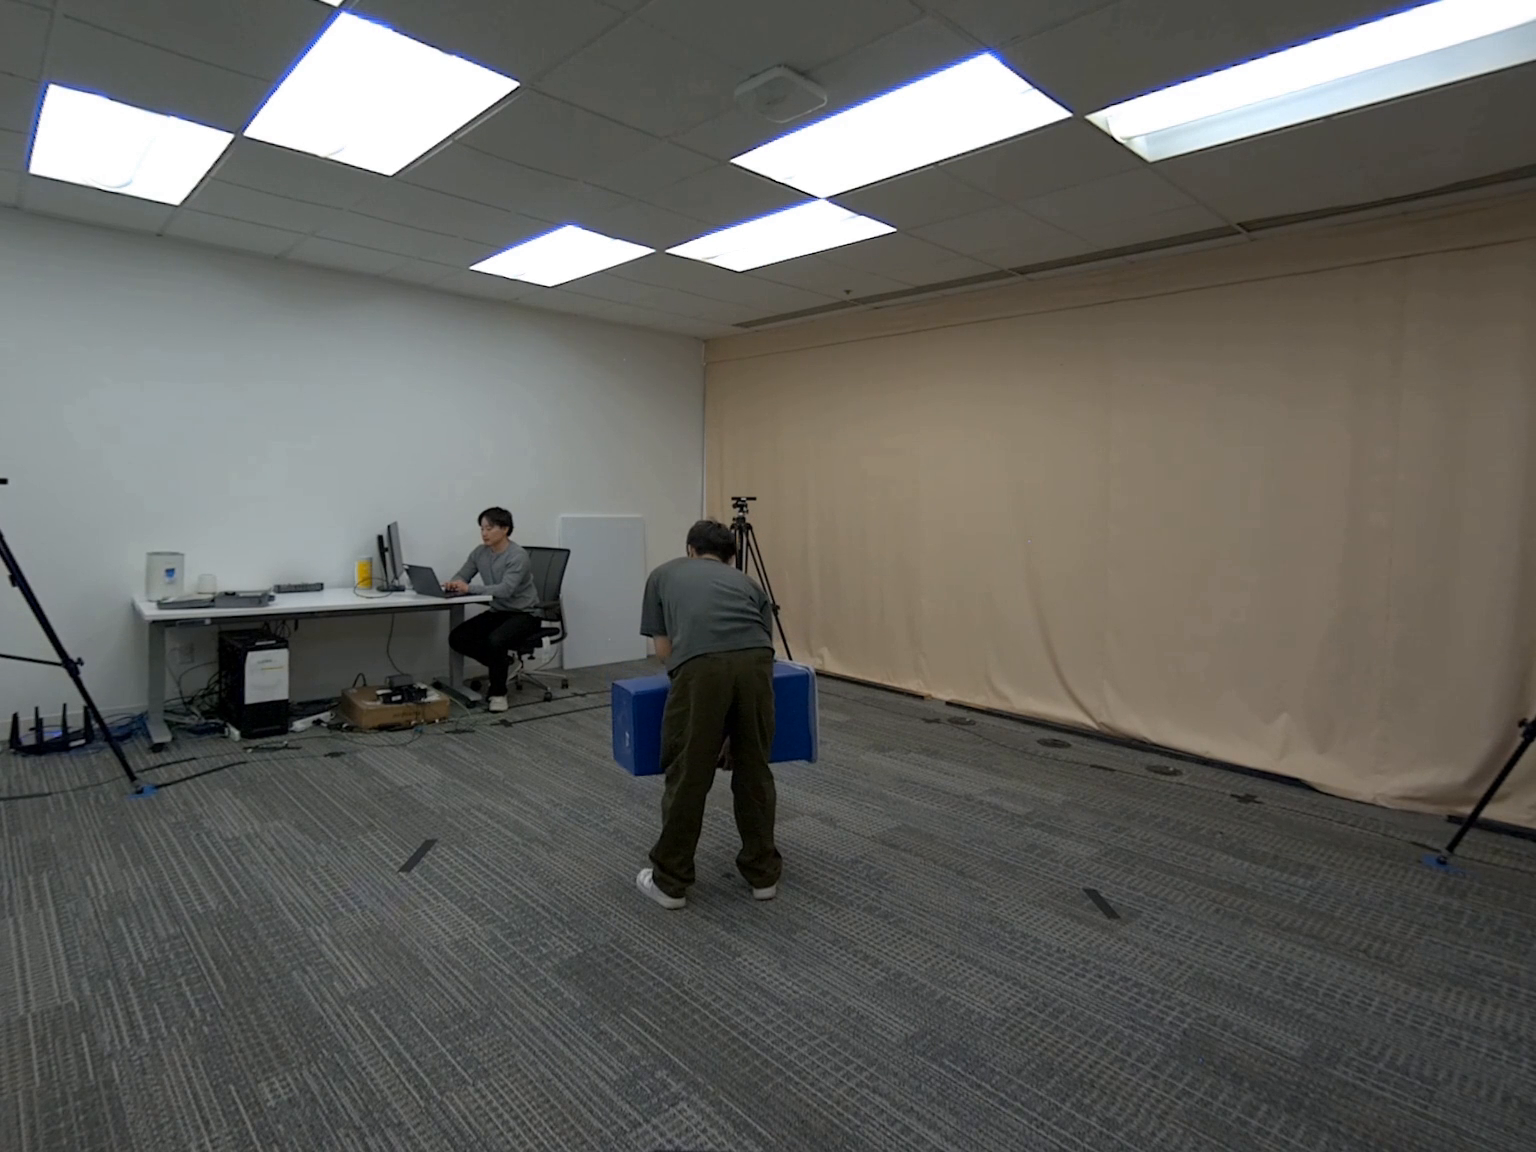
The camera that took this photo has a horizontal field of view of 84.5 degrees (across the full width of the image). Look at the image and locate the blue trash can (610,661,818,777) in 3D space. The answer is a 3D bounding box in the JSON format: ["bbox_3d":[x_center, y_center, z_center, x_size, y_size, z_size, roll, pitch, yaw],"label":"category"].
[{"bbox_3d":[-0.219,0.548,3.235,0.703,0.374,0.384,-3,2,-21],"label":"blue trash can"}]
